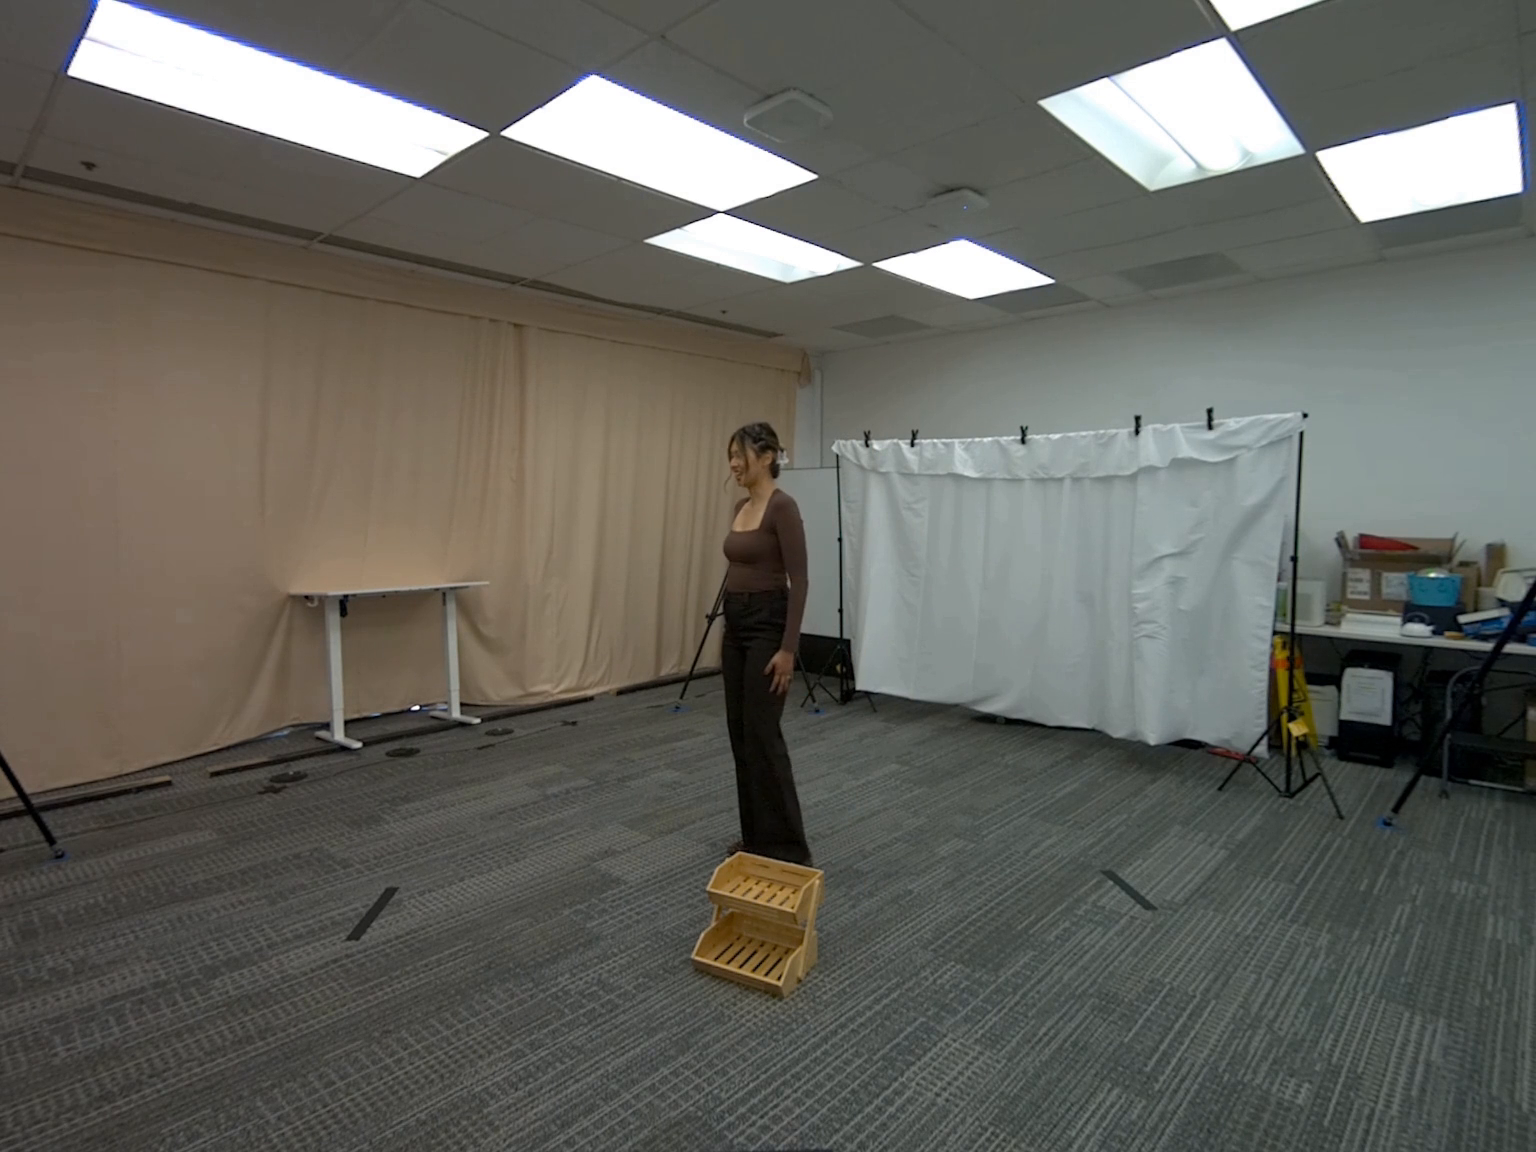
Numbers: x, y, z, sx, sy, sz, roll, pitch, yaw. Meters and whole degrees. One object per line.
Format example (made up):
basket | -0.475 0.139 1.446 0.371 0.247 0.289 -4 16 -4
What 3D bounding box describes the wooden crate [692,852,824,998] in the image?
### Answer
wooden crate | -0.026 1.041 2.560 0.333 0.273 0.294 2 4 29
